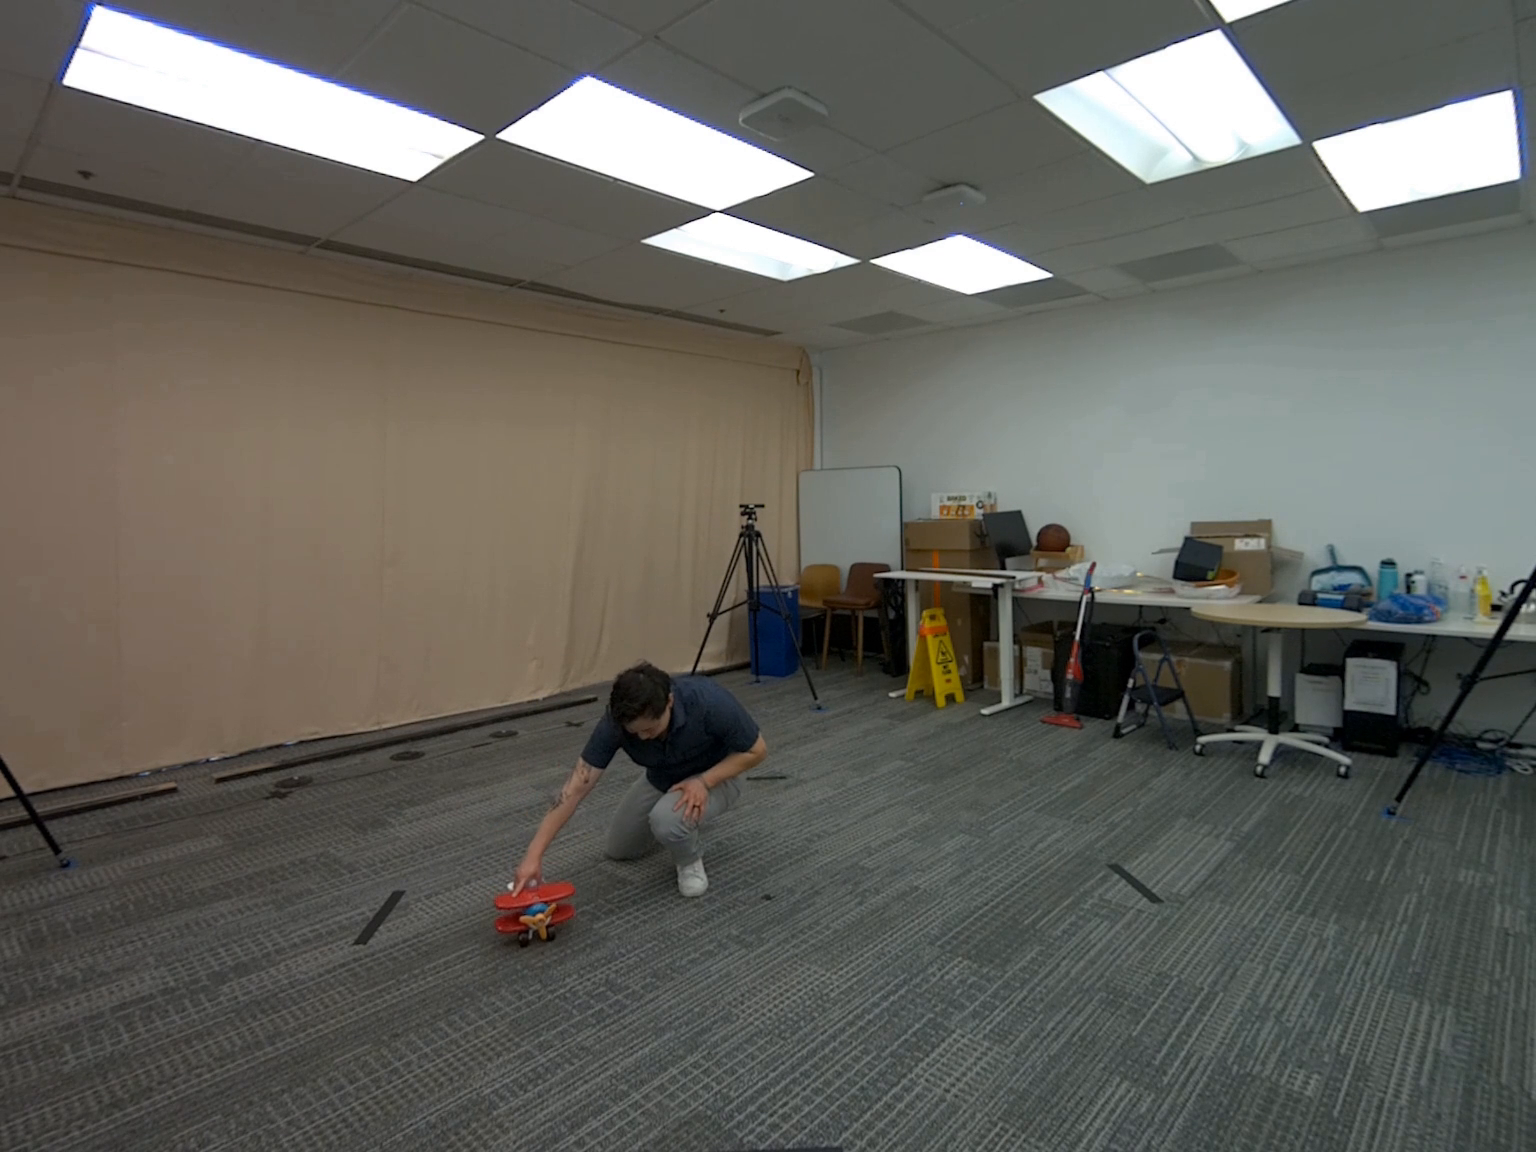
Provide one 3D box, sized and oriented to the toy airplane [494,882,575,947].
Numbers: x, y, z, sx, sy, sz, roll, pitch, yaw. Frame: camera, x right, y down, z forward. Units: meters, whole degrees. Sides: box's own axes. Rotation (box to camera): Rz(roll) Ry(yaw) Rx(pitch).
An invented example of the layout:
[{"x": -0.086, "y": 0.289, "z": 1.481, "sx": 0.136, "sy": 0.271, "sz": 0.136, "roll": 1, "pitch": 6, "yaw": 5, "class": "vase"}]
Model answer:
[{"x": -0.793, "y": 1.083, "z": 2.749, "sx": 0.268, "sy": 0.155, "sz": 0.245, "roll": 24, "pitch": 27, "yaw": 31, "class": "toy airplane"}]
